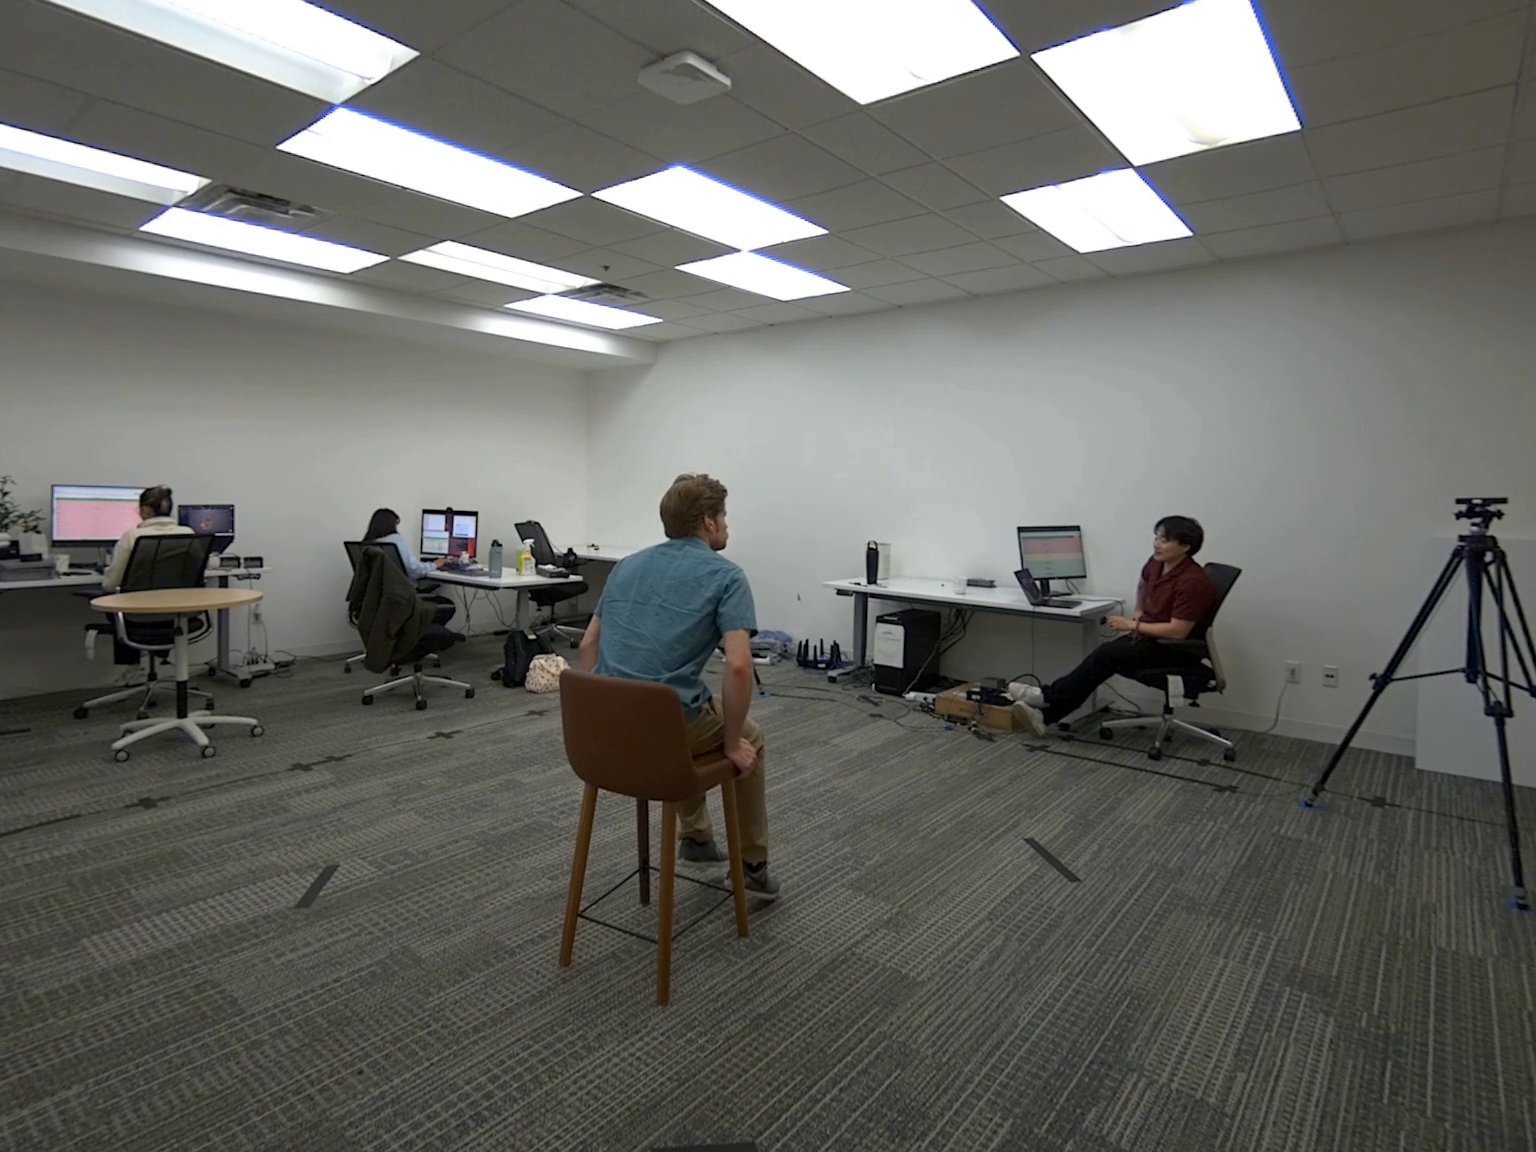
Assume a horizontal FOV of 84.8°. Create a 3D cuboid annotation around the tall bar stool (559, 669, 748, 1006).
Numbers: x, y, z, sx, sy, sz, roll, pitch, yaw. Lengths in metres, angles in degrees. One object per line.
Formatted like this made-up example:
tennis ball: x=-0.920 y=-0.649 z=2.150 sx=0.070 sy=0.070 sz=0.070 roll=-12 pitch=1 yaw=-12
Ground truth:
tall bar stool: x=-0.350 y=0.688 z=2.540 sx=0.469 sy=0.886 sz=0.457 roll=2 pitch=5 yaw=29
